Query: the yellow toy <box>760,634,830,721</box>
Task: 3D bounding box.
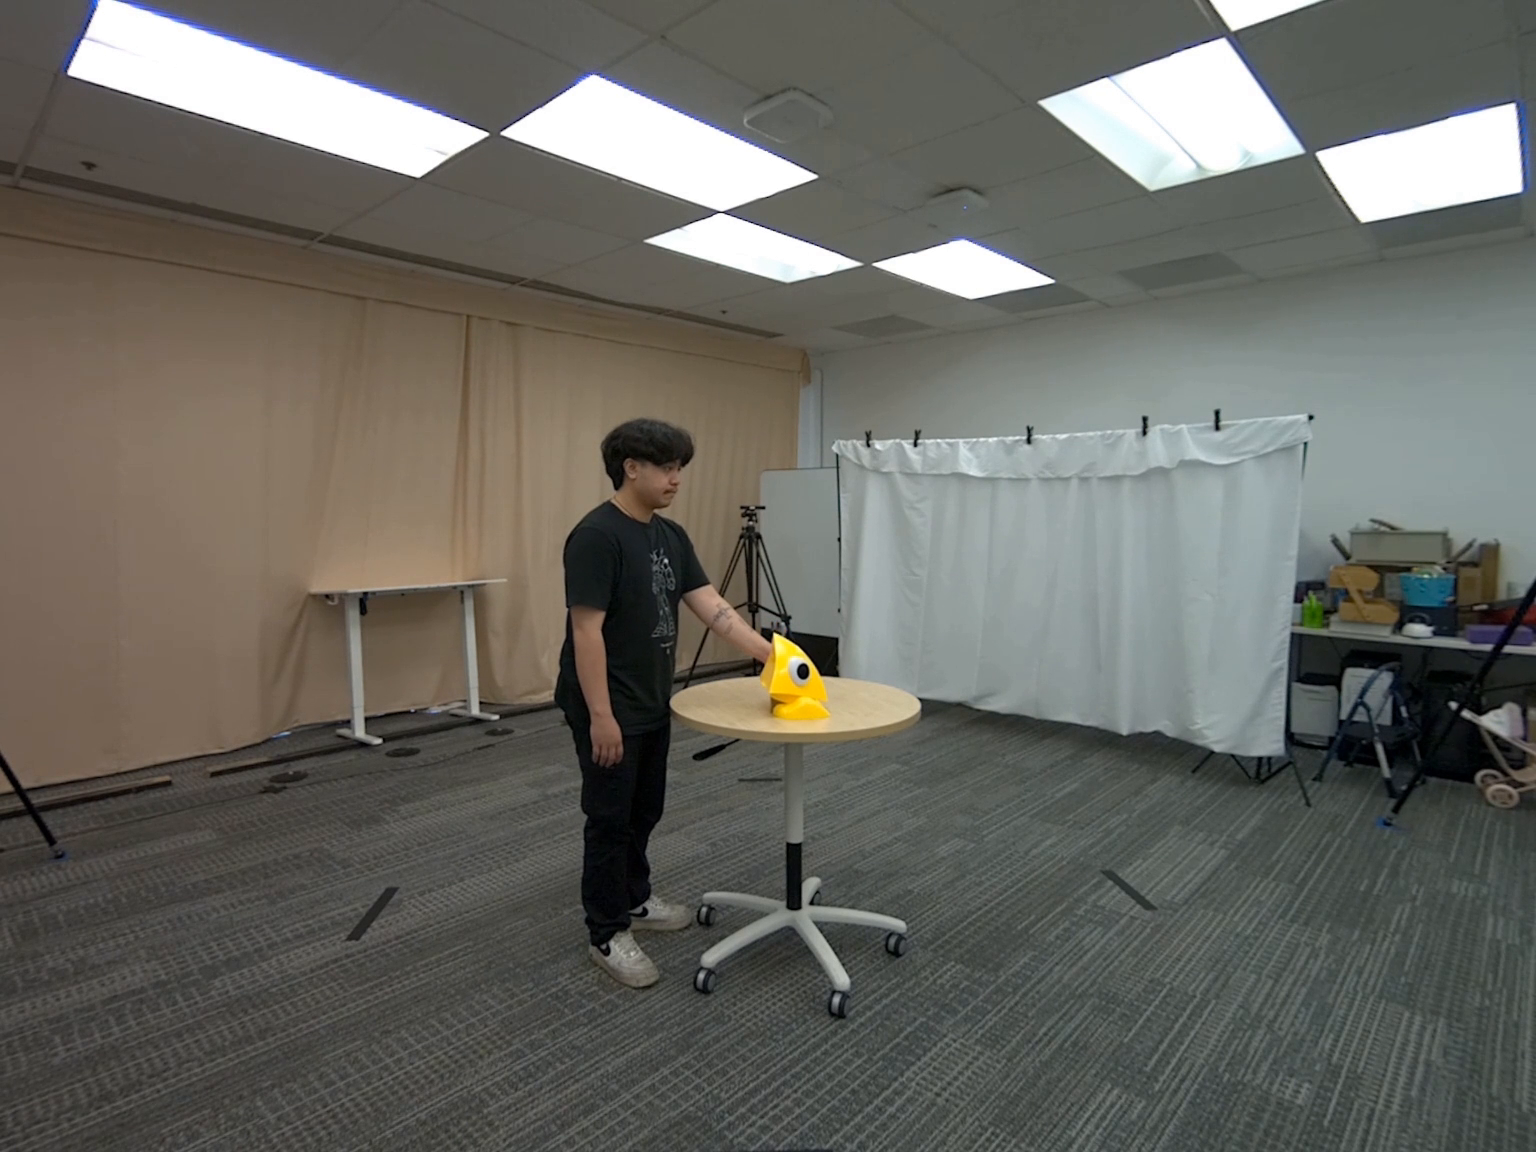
[{"bbox_3d":[0.083,0.283,2.435,0.192,0.231,0.206,-1,0,-7],"label":"yellow toy"}]
